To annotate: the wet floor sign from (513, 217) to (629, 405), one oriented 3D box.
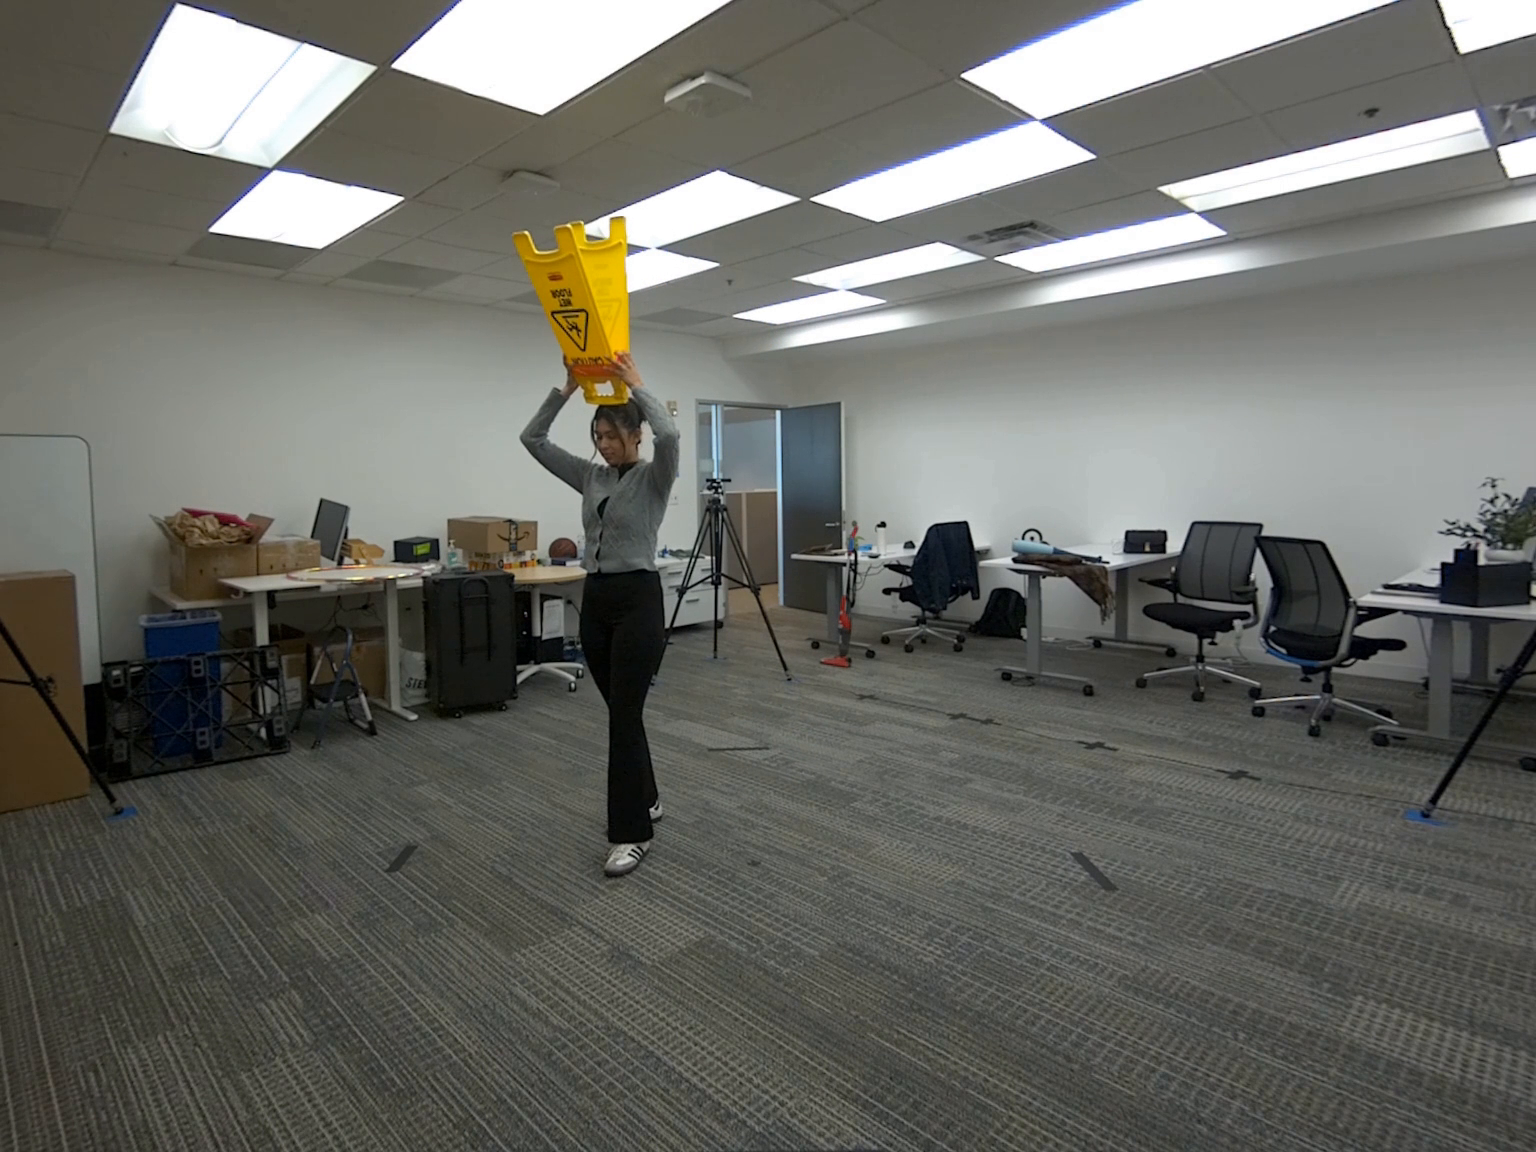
[{"bbox_3d":[-0.644,-0.932,3.088,0.291,0.631,0.288,7,28,34],"label":"wet floor sign"}]
